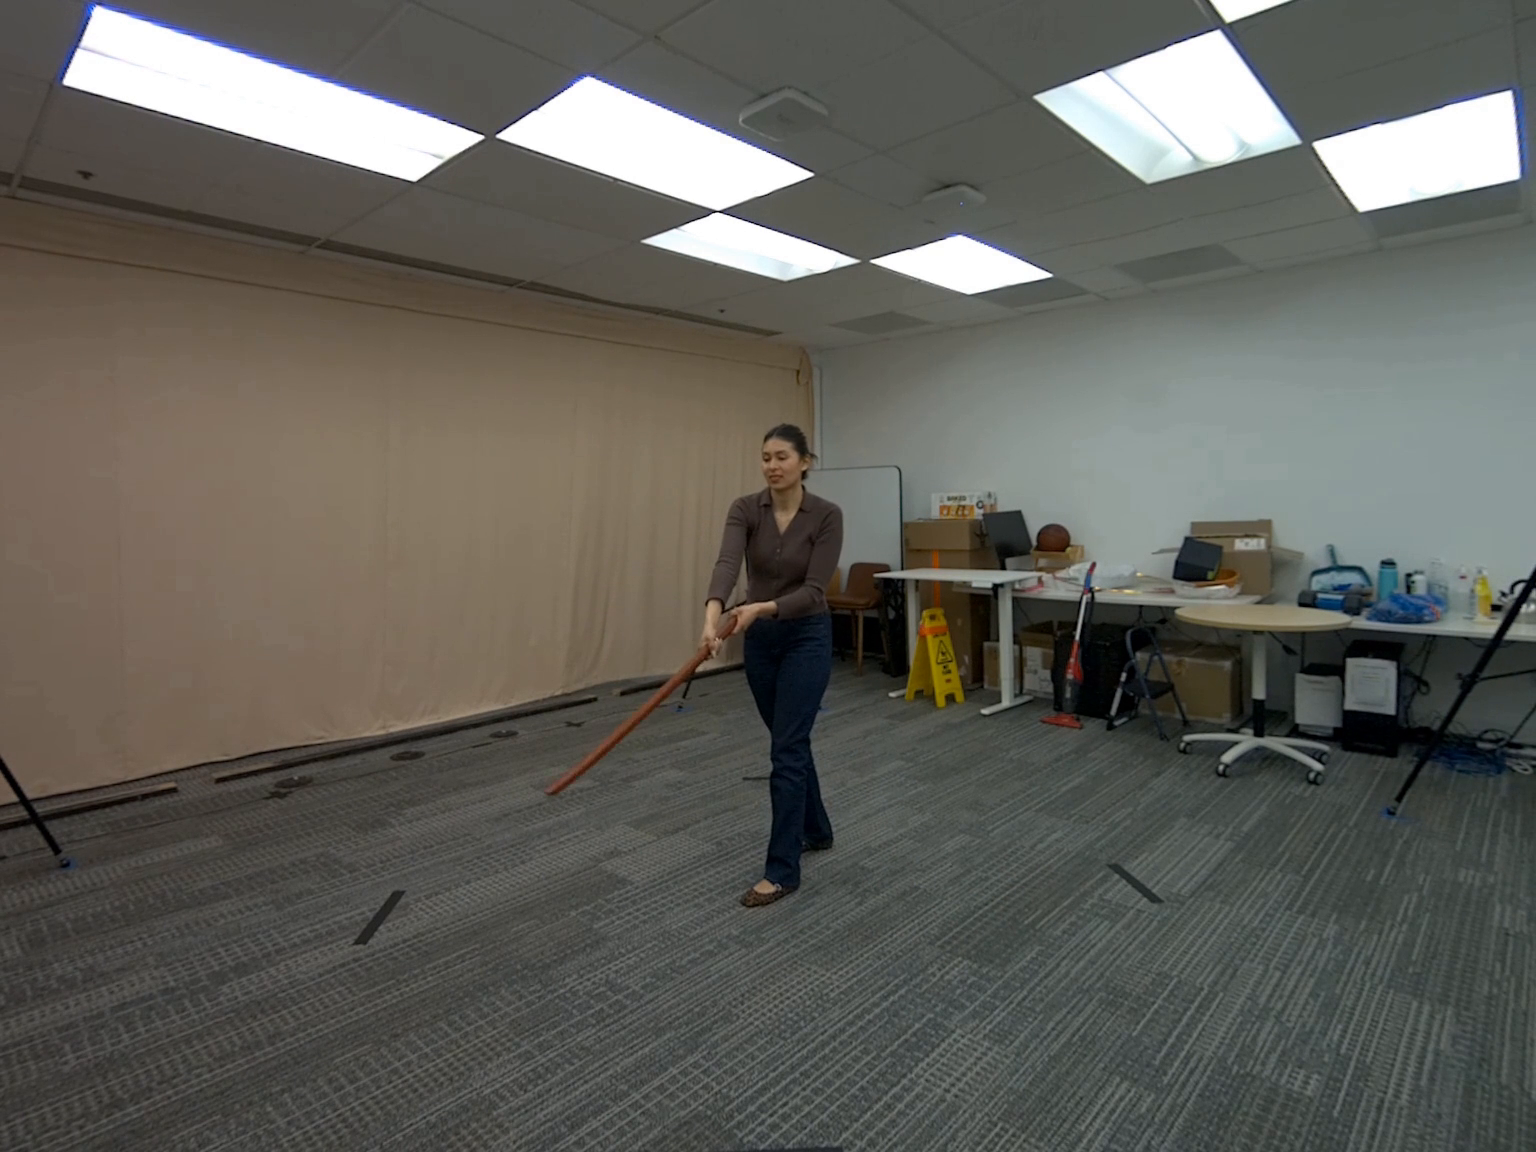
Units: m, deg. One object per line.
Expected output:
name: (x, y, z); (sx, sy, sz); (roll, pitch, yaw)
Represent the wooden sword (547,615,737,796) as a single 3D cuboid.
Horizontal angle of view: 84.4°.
wooden sword: (-0.308, 0.338, 2.505); (0.024, 0.051, 1.012); (28, 37, 14)
